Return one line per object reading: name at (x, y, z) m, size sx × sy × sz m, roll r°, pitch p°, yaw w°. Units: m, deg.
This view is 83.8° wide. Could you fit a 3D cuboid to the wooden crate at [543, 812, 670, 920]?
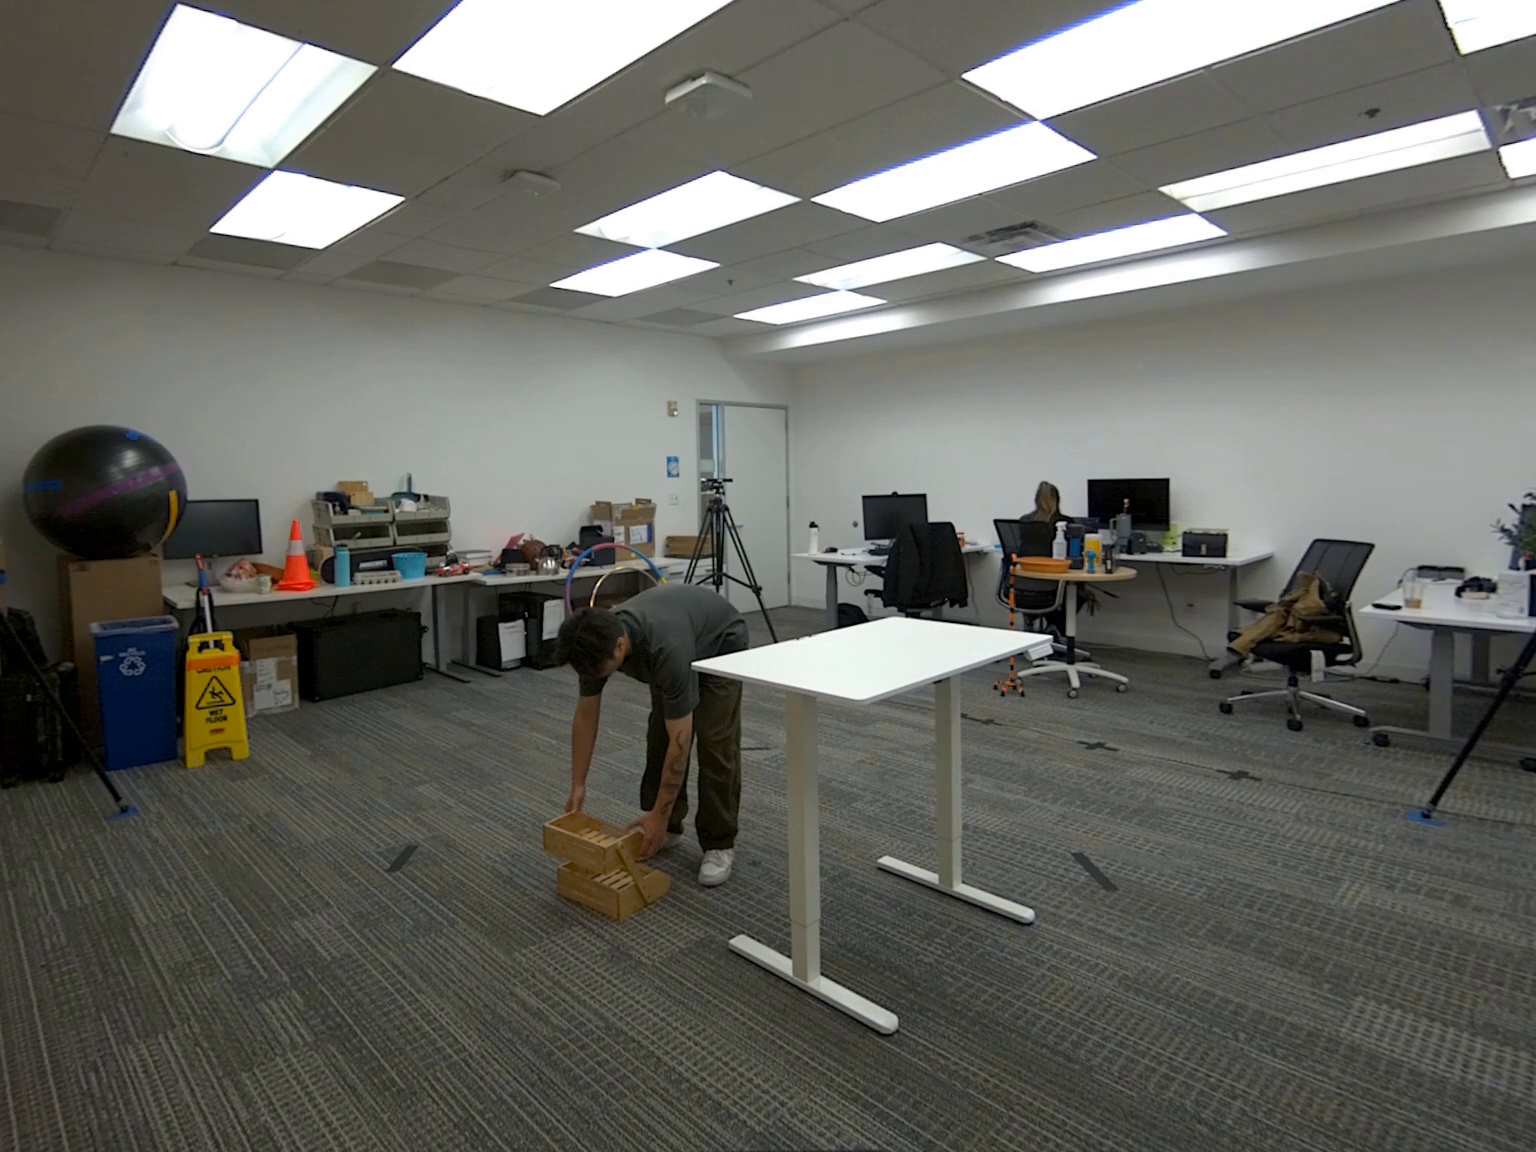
wooden crate at (-0.537, 0.945, 2.879) m, size 0.334 × 0.272 × 0.295 m, roll 3°, pitch 8°, yaw 38°
